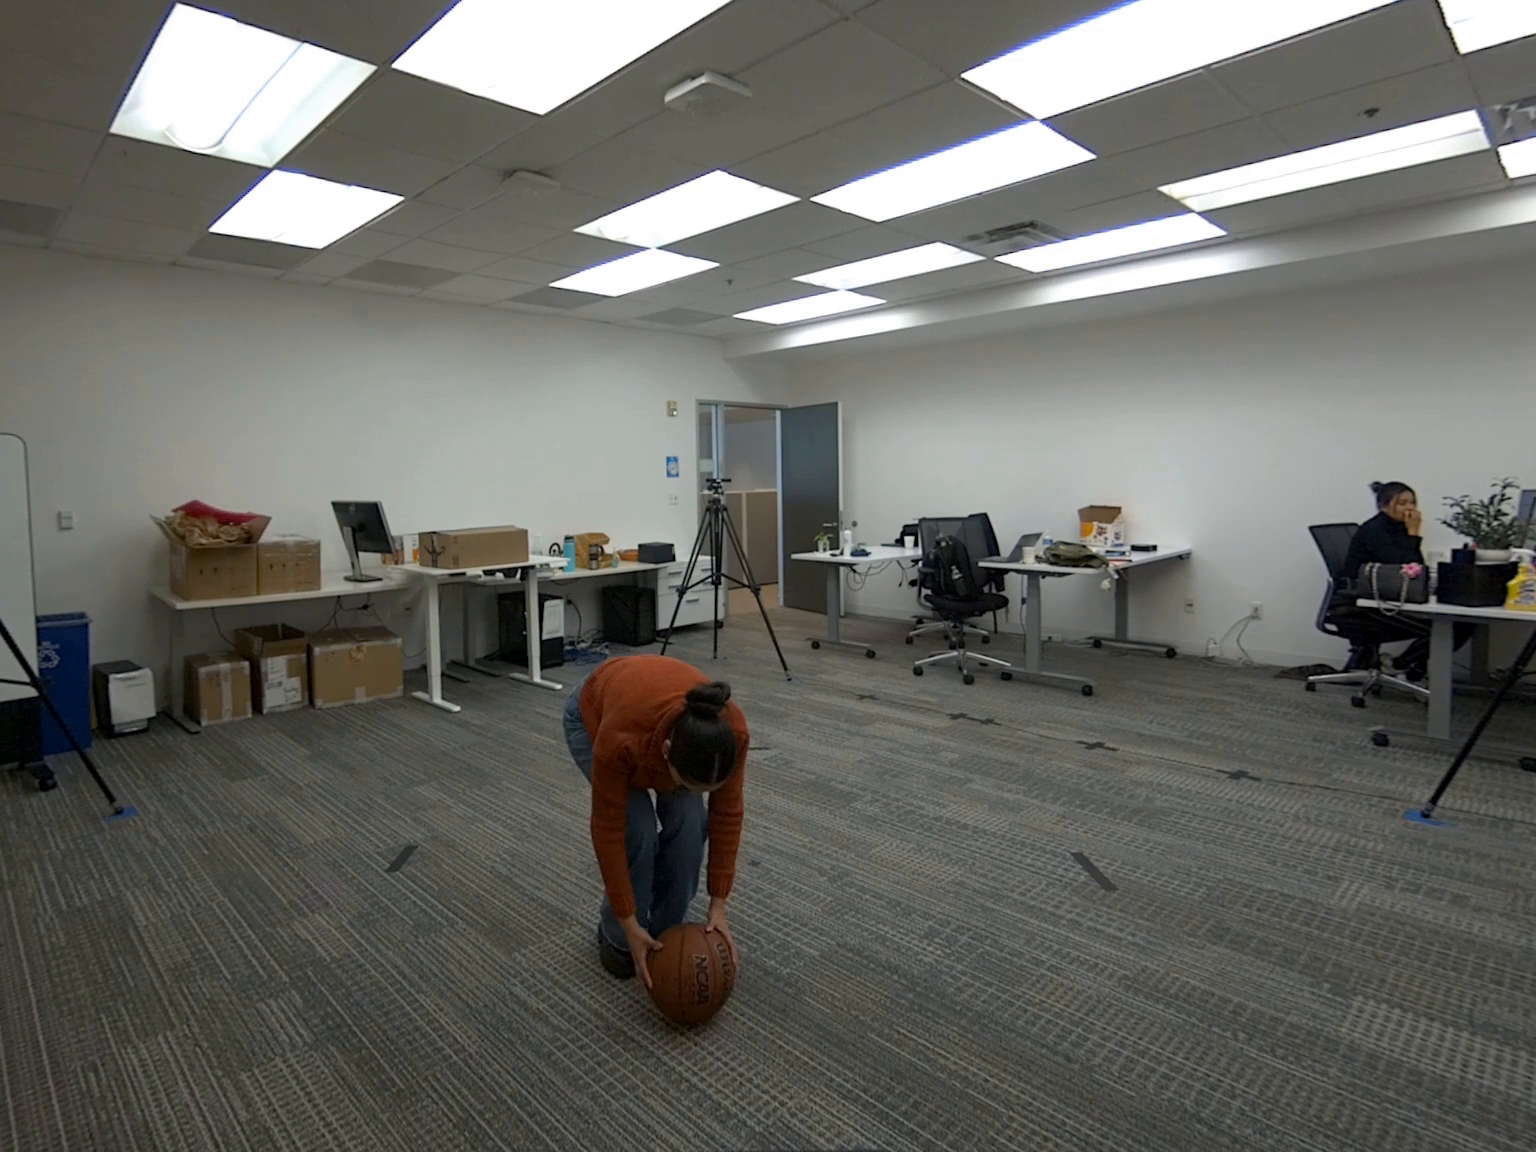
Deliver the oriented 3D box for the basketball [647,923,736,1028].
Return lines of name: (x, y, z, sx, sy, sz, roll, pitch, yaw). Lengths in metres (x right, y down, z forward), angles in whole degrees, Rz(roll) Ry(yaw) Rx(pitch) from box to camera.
basketball: (-0.198, 1.003, 2.232, 0.236, 0.235, 0.237, -1, 5, -2)
